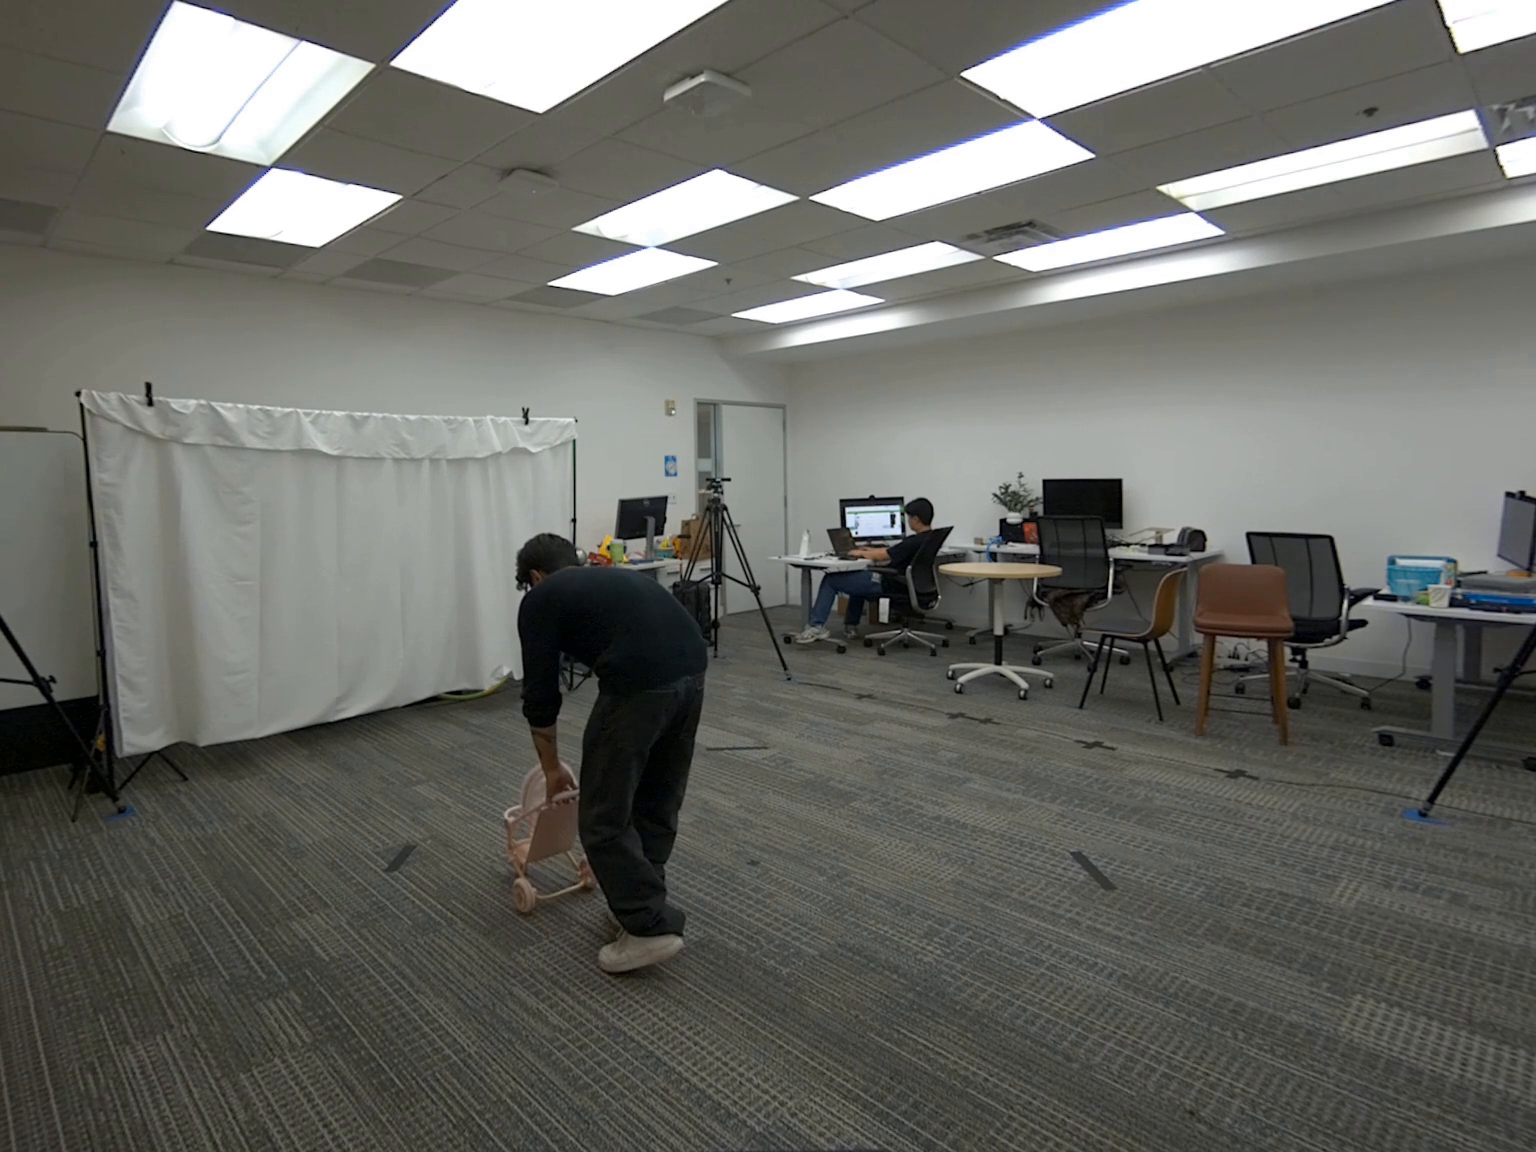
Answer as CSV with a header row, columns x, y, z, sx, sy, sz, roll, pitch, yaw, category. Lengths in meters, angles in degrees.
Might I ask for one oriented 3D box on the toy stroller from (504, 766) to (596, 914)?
x,y,z,sx,sy,sz,roll,pitch,yaw,category
-0.747,0.860,2.898,0.274,0.528,0.355,-4,23,-38,toy stroller
